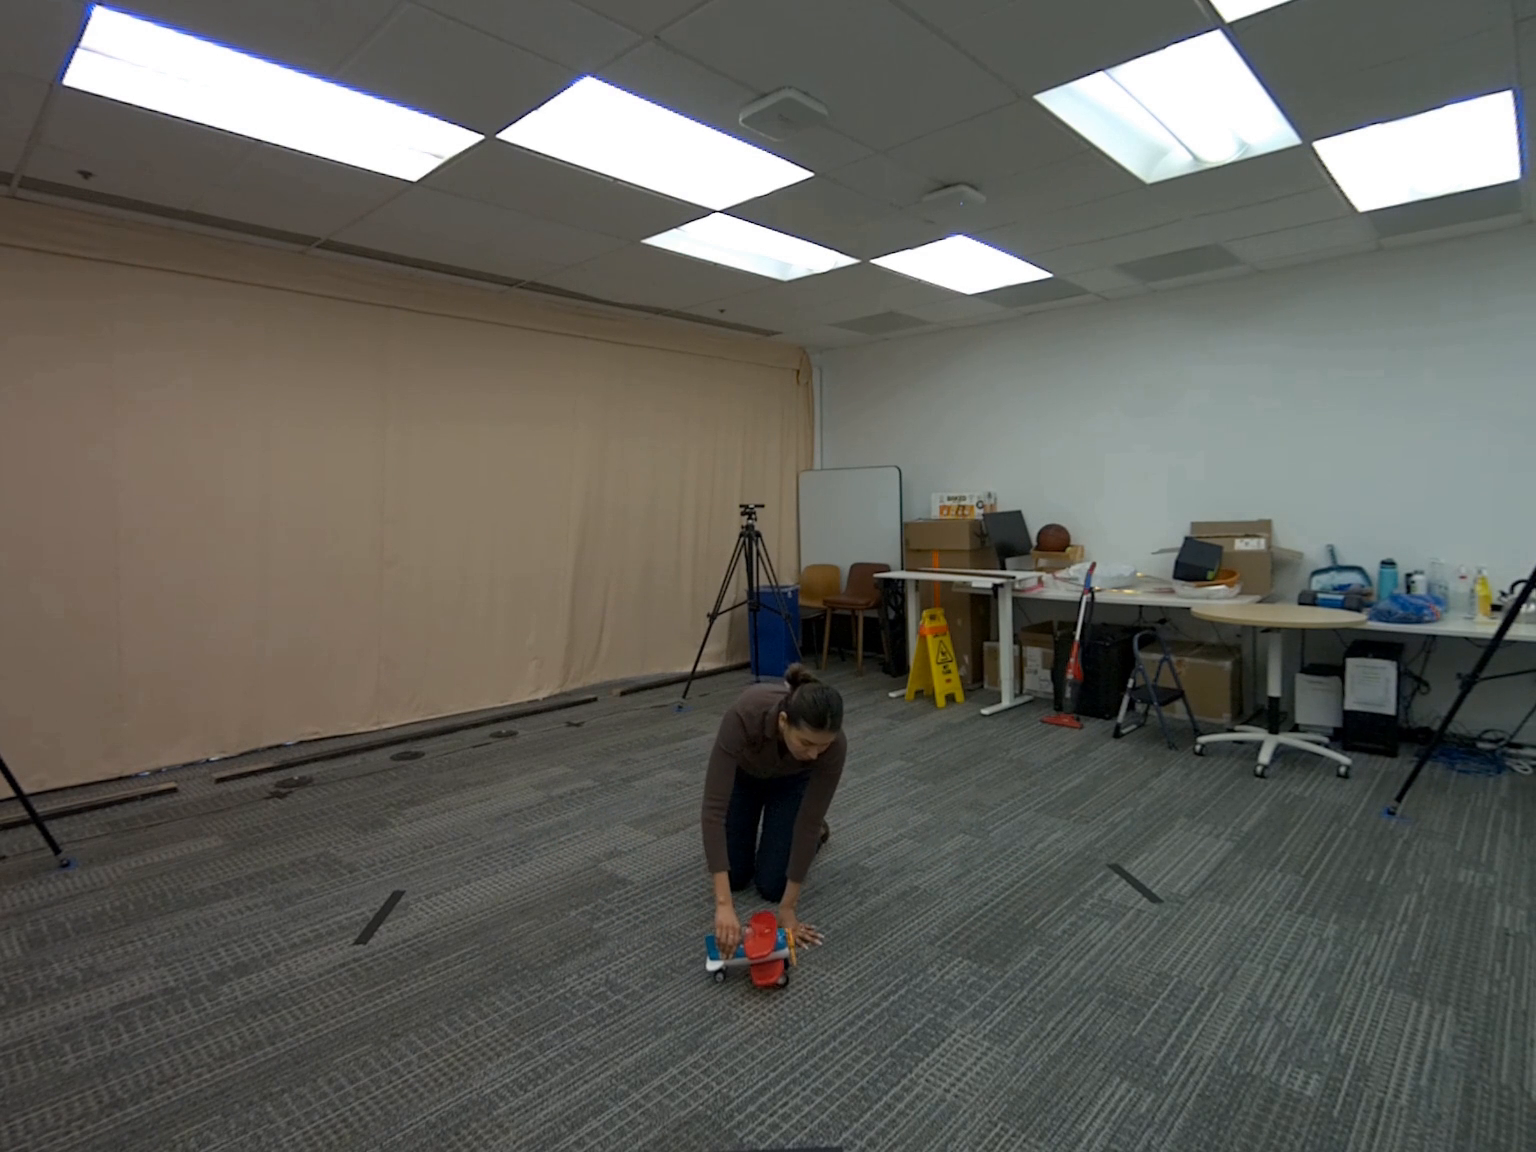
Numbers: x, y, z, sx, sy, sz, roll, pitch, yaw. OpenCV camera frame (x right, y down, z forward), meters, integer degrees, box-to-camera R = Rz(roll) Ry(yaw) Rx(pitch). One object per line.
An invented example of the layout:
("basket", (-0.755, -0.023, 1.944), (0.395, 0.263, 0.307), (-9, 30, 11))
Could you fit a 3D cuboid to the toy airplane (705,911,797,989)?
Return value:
("toy airplane", (-0.052, 1.108, 2.457), (0.253, 0.156, 0.257), (-2, 5, -24))
